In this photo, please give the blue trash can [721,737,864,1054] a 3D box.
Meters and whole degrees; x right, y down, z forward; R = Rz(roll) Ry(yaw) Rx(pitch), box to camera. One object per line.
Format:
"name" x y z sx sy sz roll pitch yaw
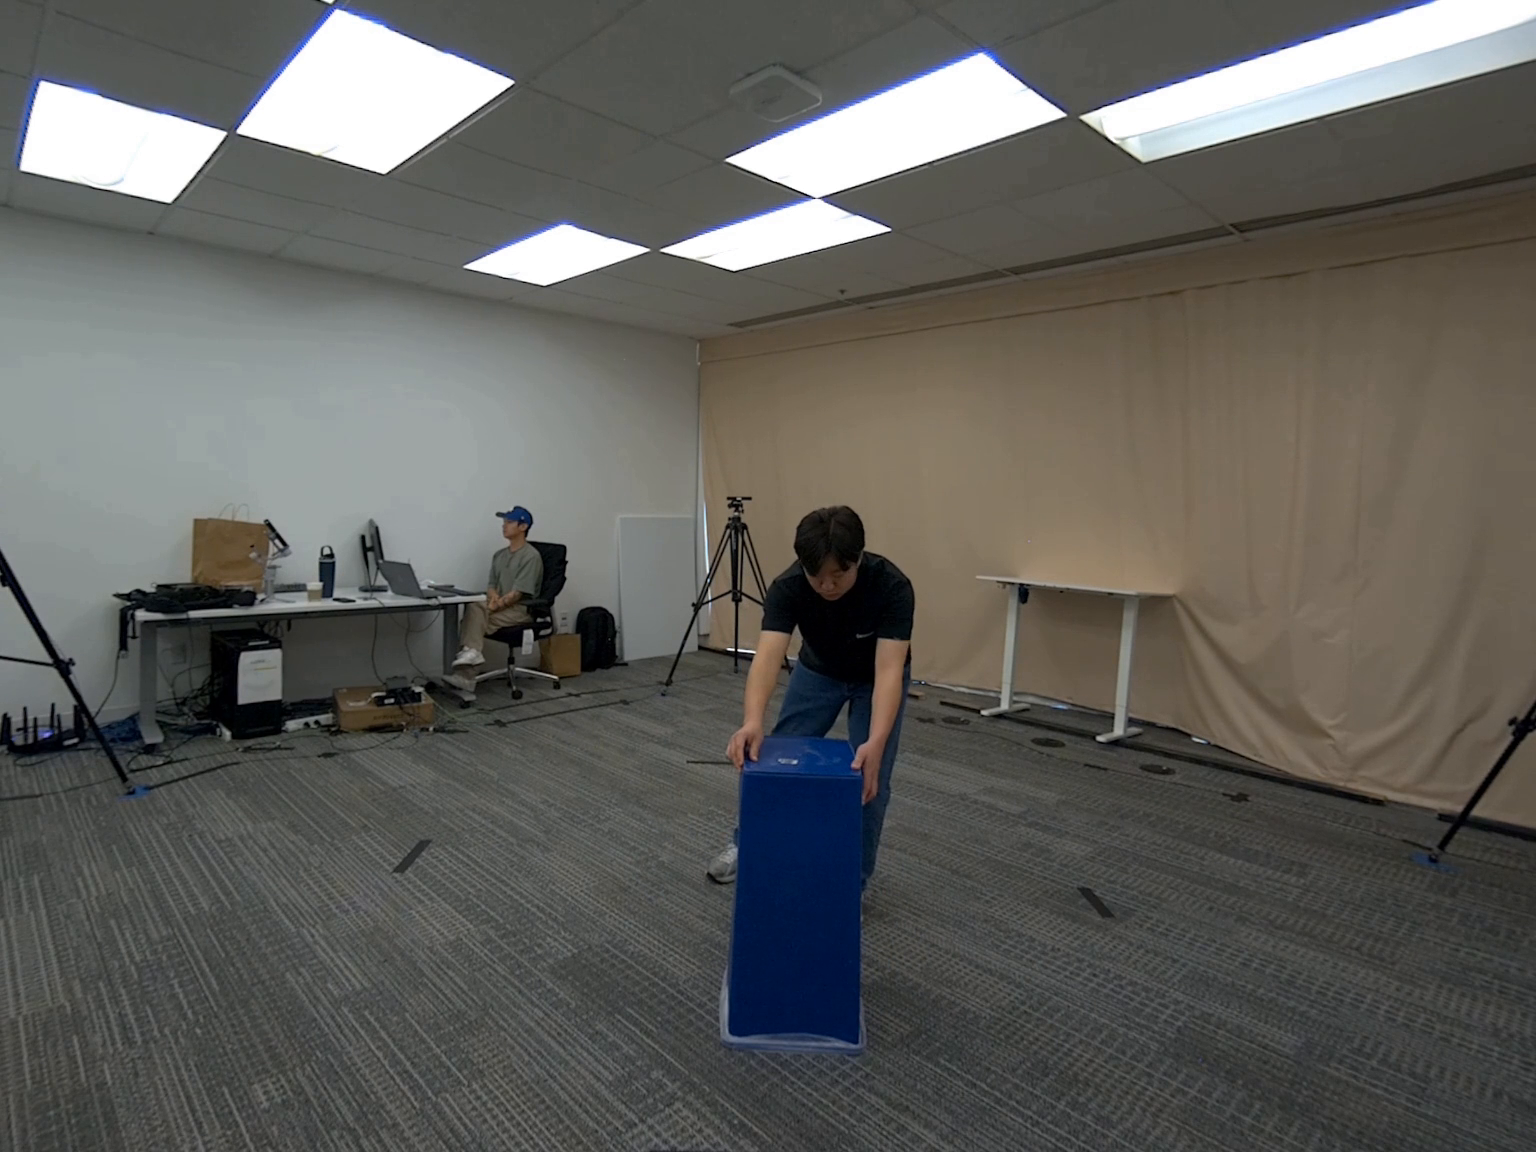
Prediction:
"blue trash can" 0.073 0.842 2.273 0.378 0.711 0.375 1 5 1
